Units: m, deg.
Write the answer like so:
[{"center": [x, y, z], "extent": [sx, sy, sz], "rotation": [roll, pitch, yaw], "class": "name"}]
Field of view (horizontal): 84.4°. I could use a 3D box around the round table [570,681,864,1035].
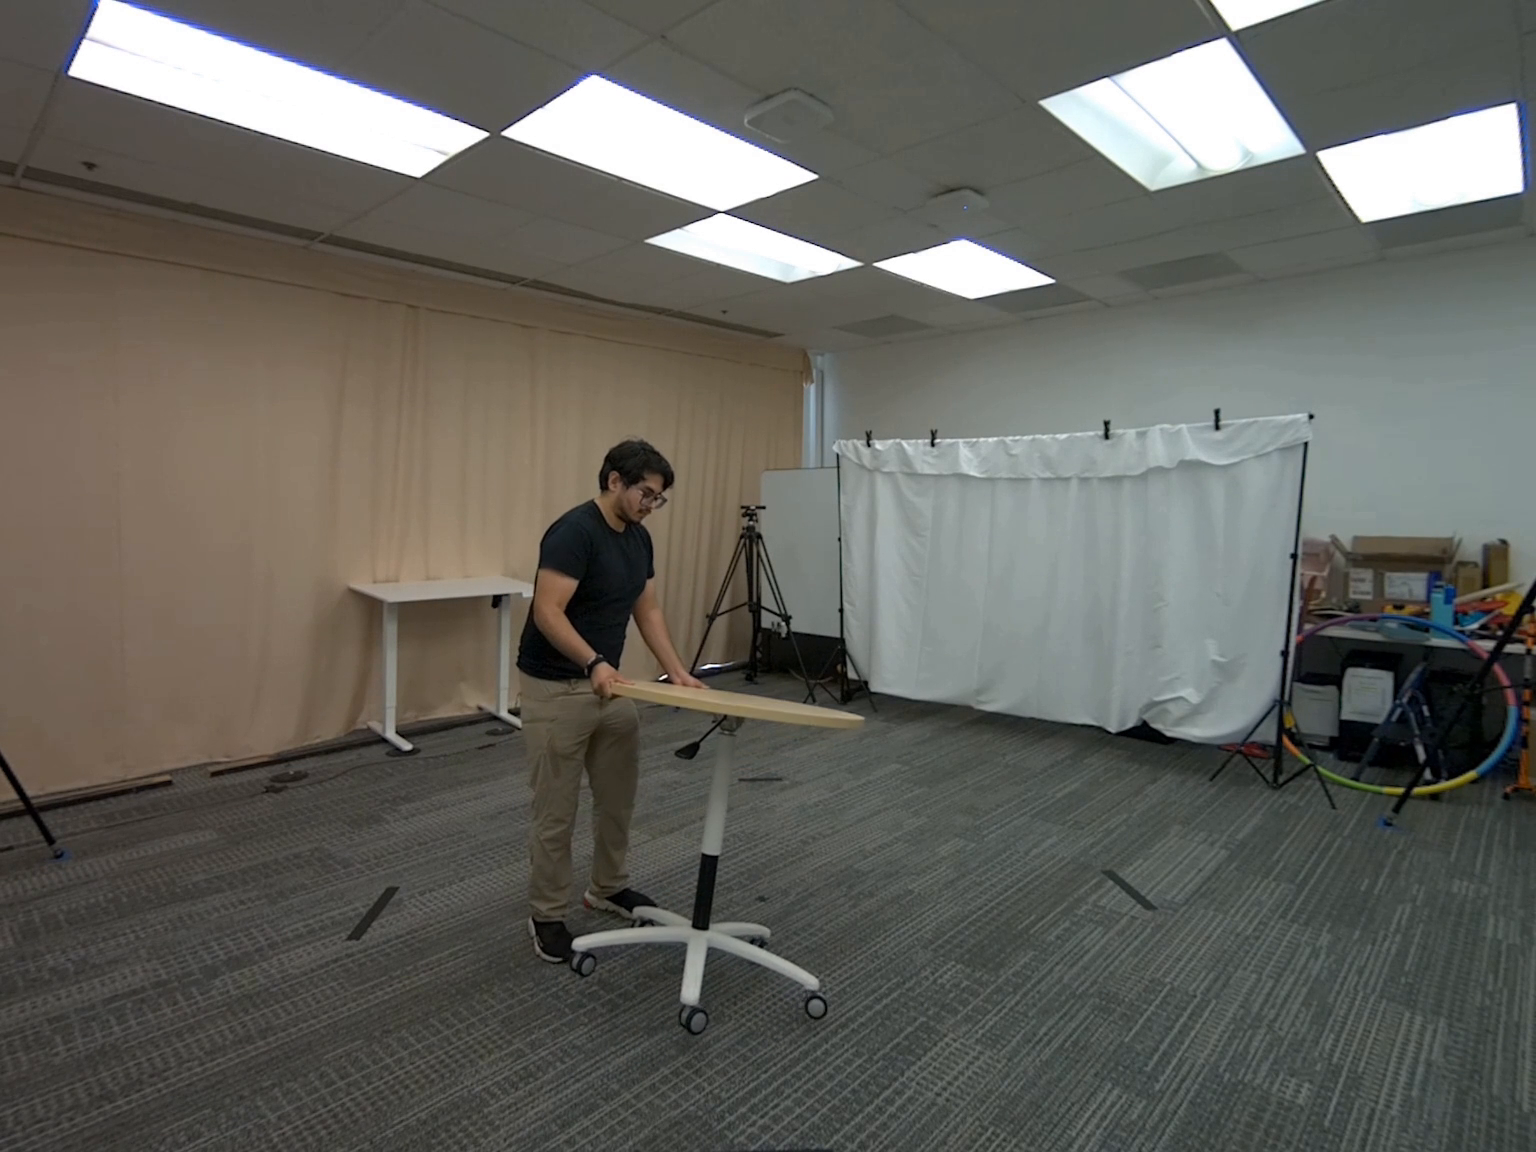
[{"center": [-0.154, 0.740, 2.376], "extent": [0.785, 0.789, 0.783], "rotation": [8, -6, -1], "class": "round table"}]
